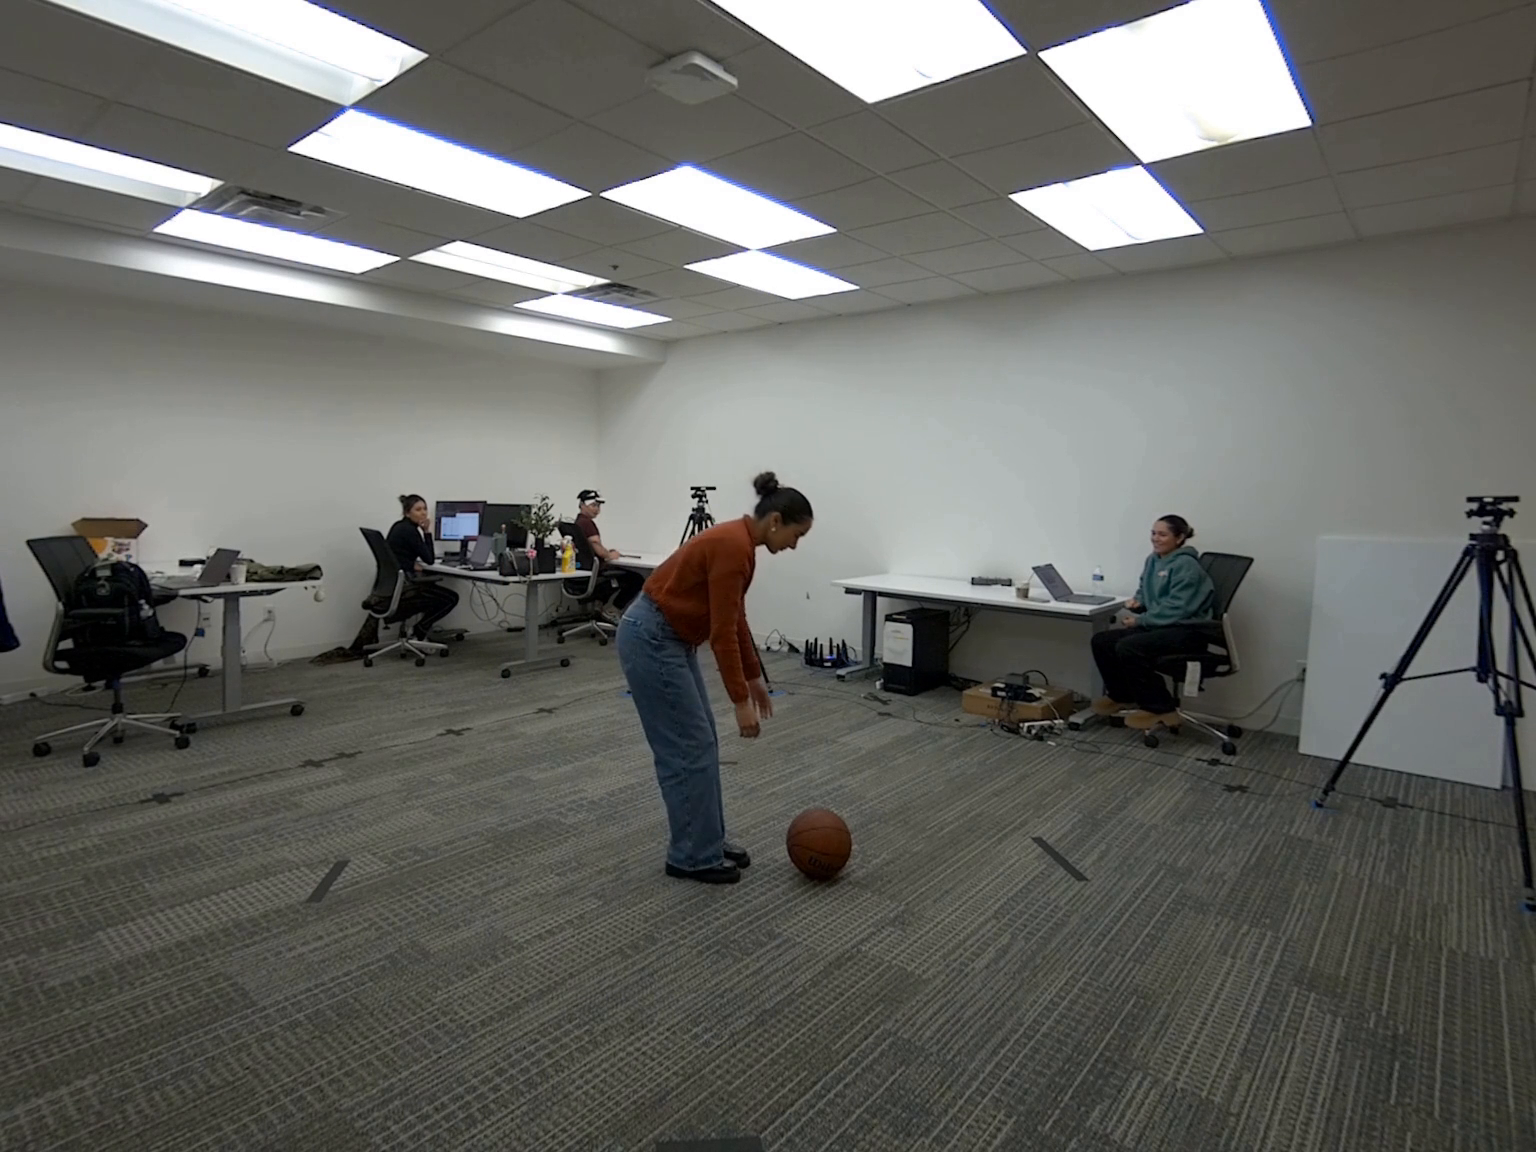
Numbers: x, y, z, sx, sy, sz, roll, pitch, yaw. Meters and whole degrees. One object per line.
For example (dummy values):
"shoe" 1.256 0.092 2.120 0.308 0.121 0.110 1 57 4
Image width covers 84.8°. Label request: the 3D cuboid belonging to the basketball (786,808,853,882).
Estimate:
"basketball" 0.174 0.958 3.071 0.236 0.235 0.237 1 4 -2
